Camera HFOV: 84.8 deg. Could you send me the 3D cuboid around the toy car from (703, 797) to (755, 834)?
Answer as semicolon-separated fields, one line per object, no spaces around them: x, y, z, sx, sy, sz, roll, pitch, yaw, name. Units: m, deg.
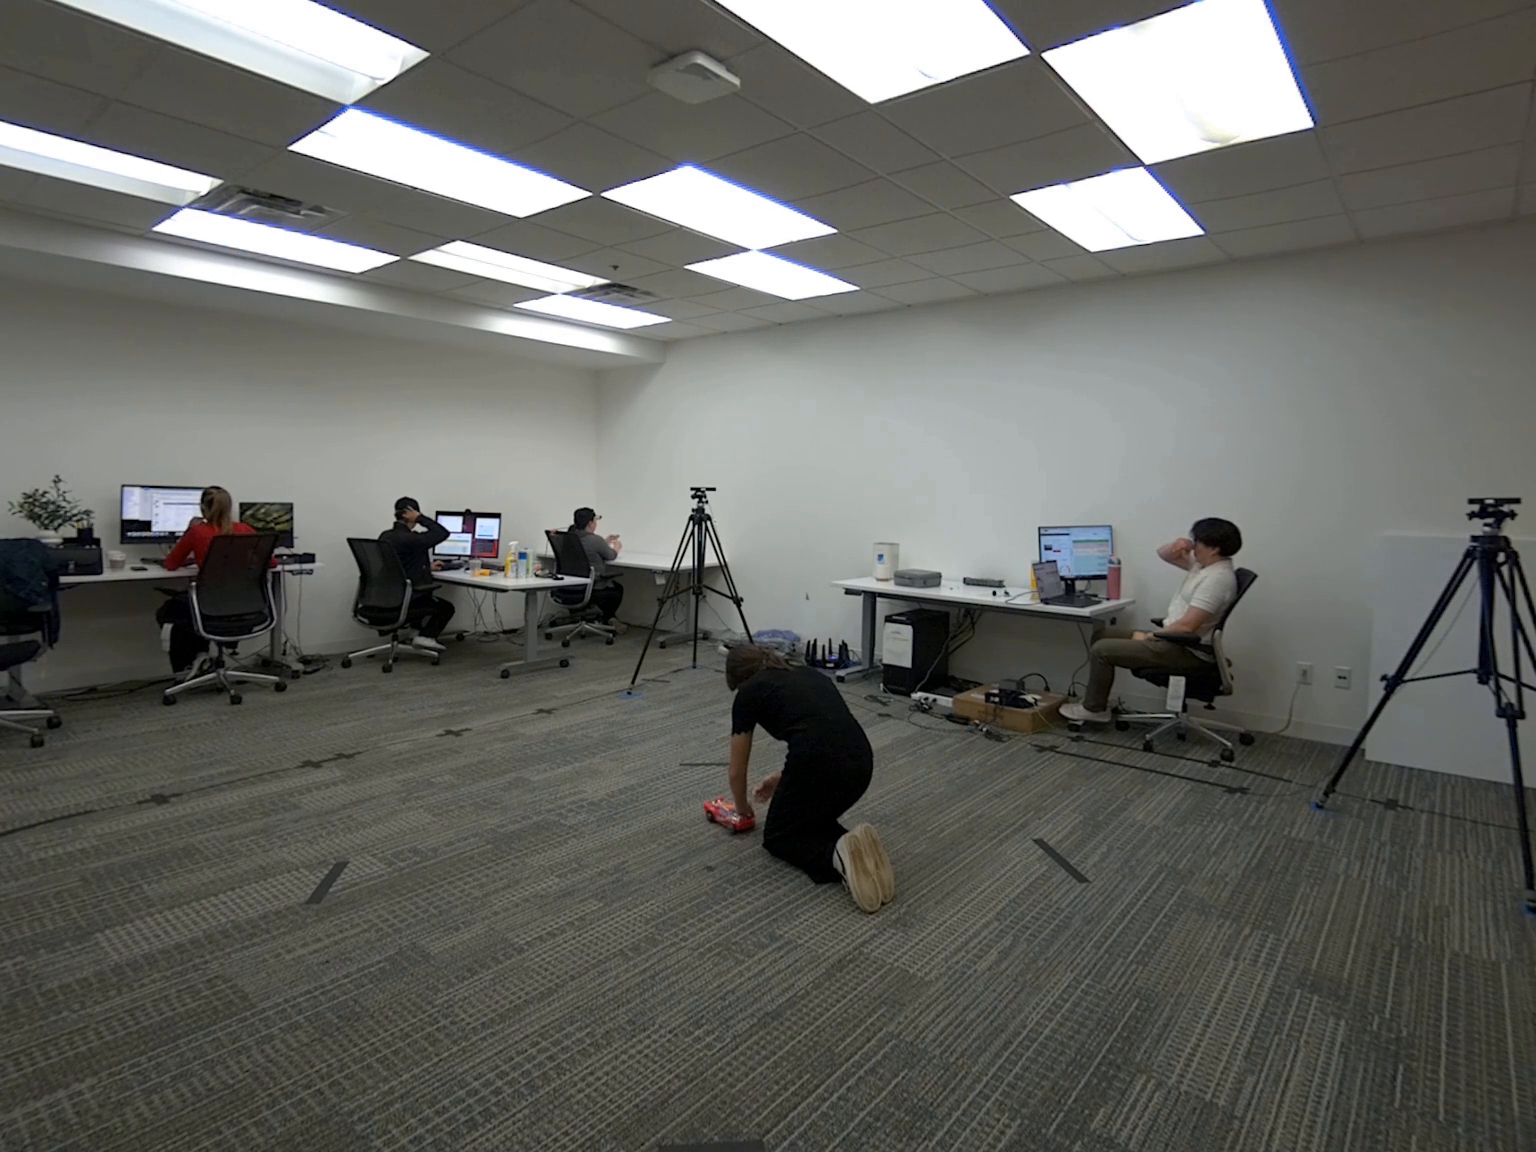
-0.178;0.992;3.538;0.127;0.082;0.265;-5;20;-36;toy car
